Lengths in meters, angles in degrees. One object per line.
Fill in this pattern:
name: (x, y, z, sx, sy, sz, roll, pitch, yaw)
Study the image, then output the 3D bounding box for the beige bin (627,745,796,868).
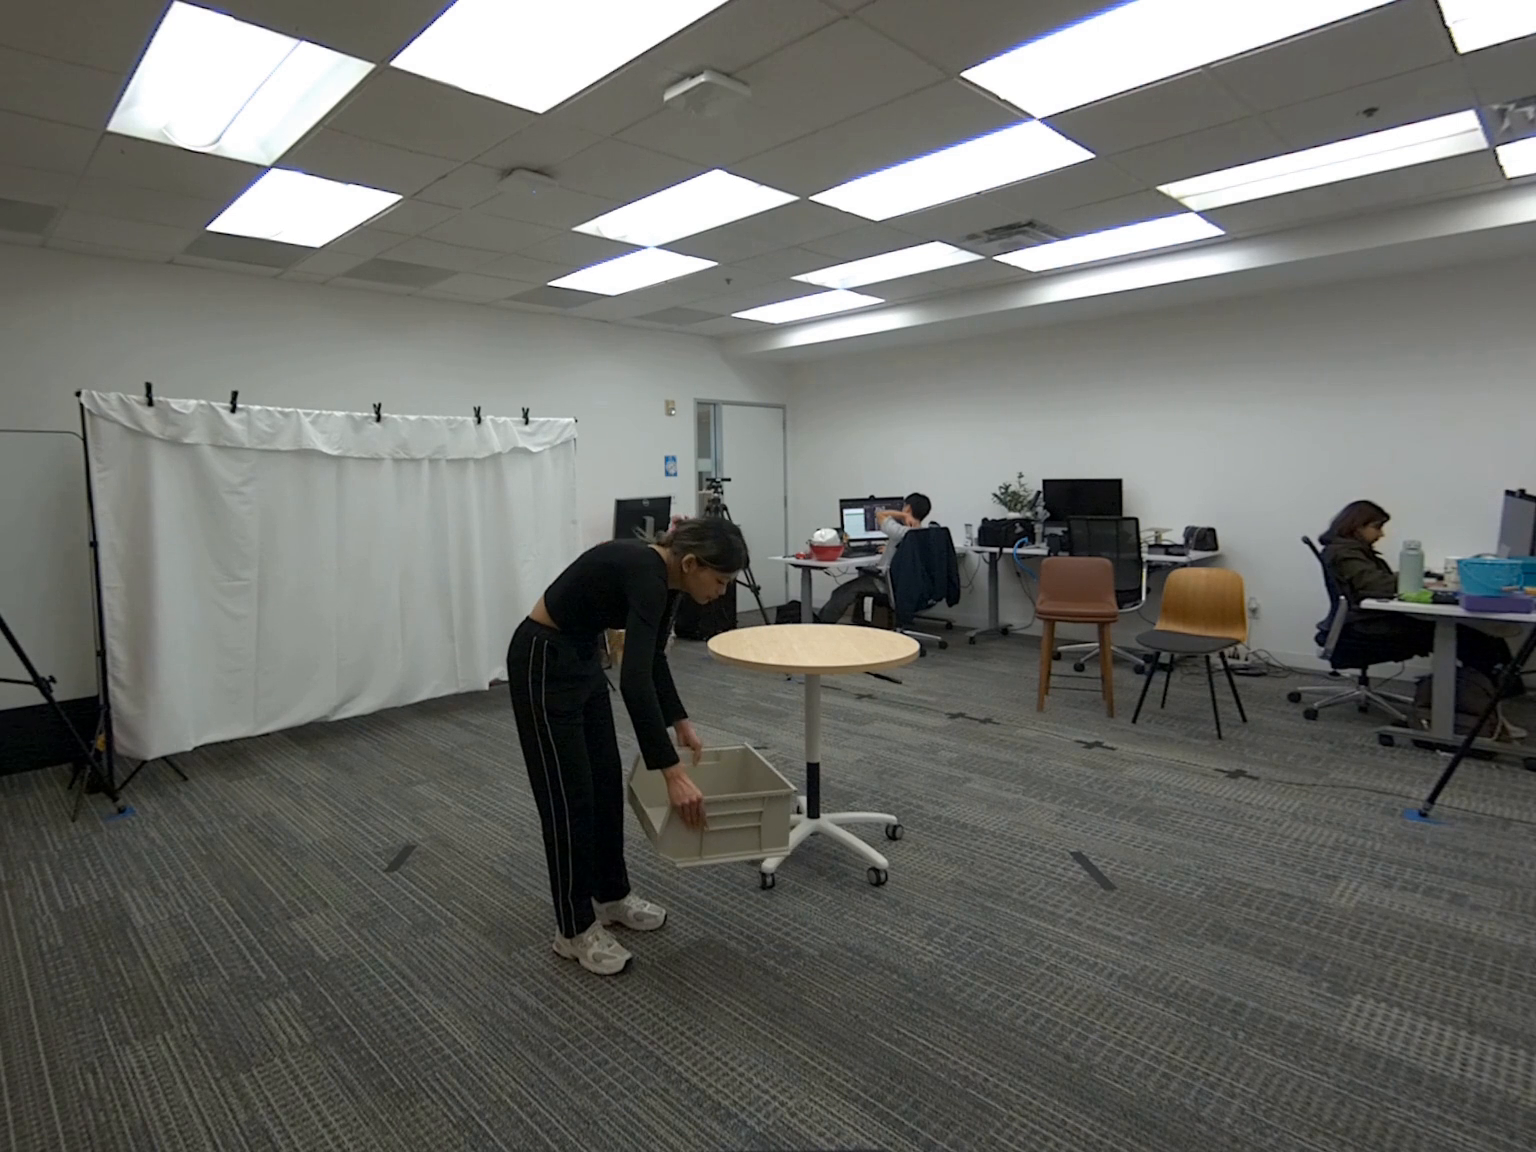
beige bin: (-0.180, 0.635, 2.388, 0.371, 0.188, 0.431, 0, 4, -19)
